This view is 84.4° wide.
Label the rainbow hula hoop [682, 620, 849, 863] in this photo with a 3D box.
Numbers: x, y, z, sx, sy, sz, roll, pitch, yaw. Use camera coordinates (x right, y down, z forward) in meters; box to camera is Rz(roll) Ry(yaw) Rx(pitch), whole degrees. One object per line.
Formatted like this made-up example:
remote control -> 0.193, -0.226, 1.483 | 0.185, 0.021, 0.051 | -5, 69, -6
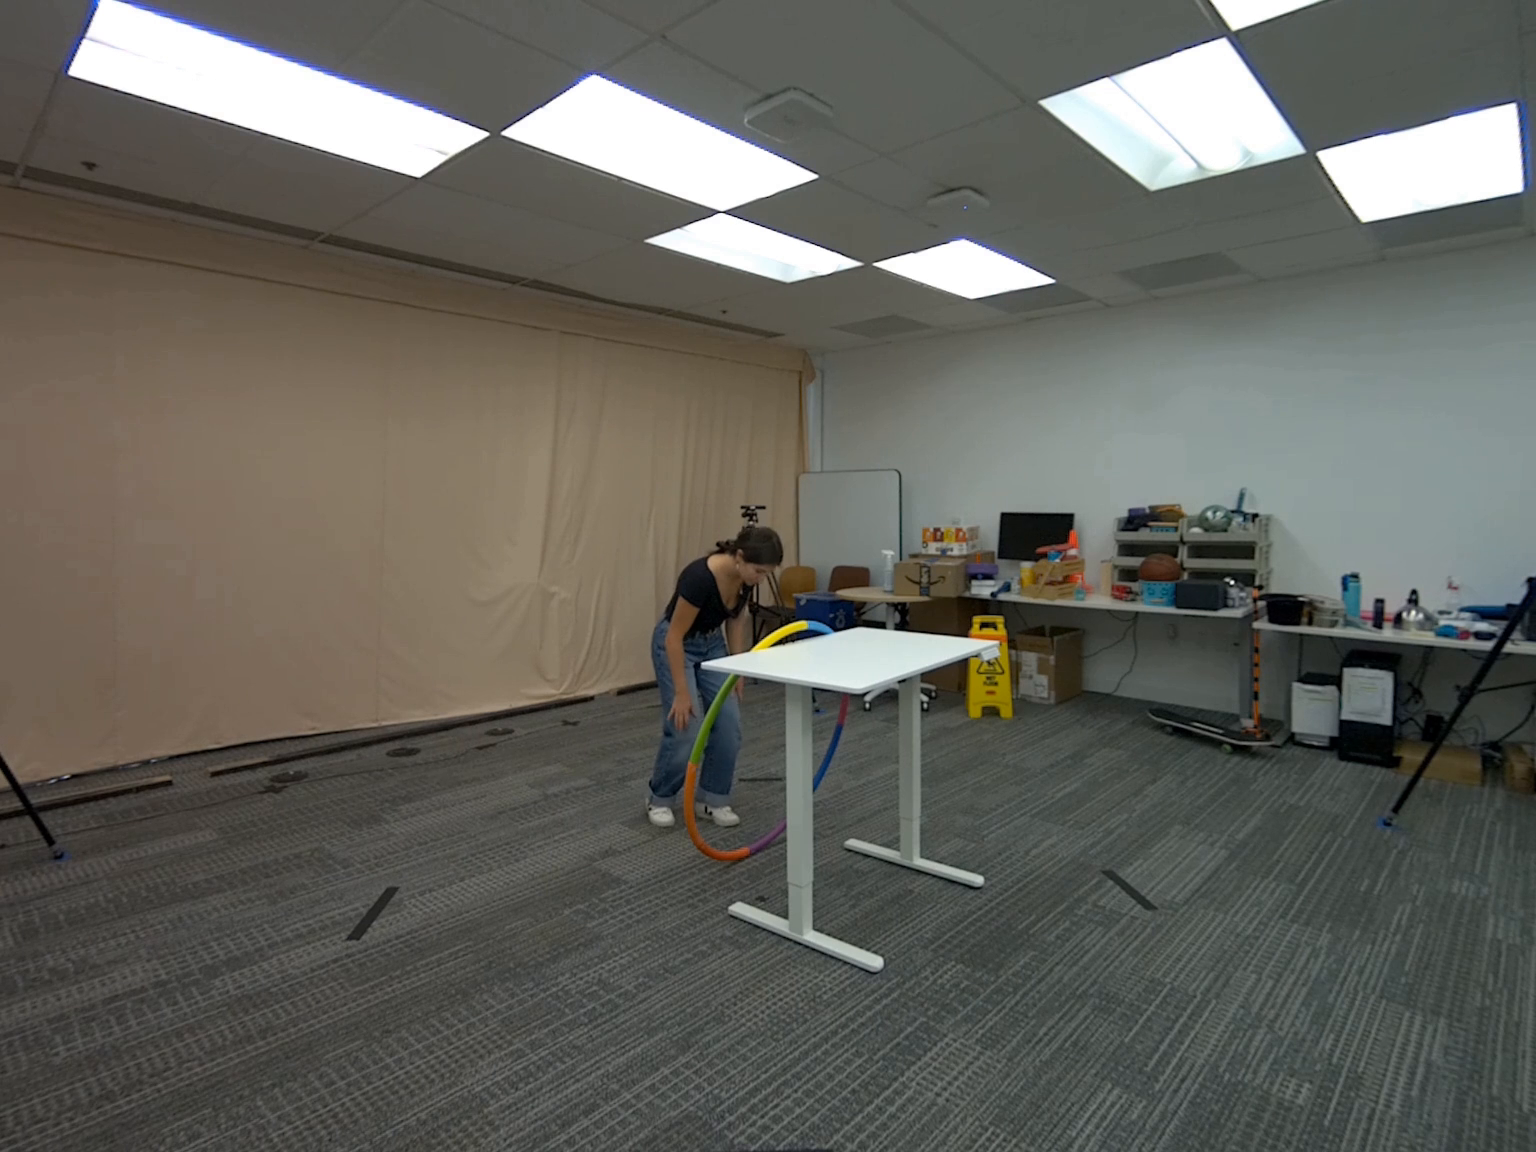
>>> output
rainbow hula hoop -> 0.025, 0.642, 3.285 | 0.037, 0.973, 0.949 | 20, 15, 37
